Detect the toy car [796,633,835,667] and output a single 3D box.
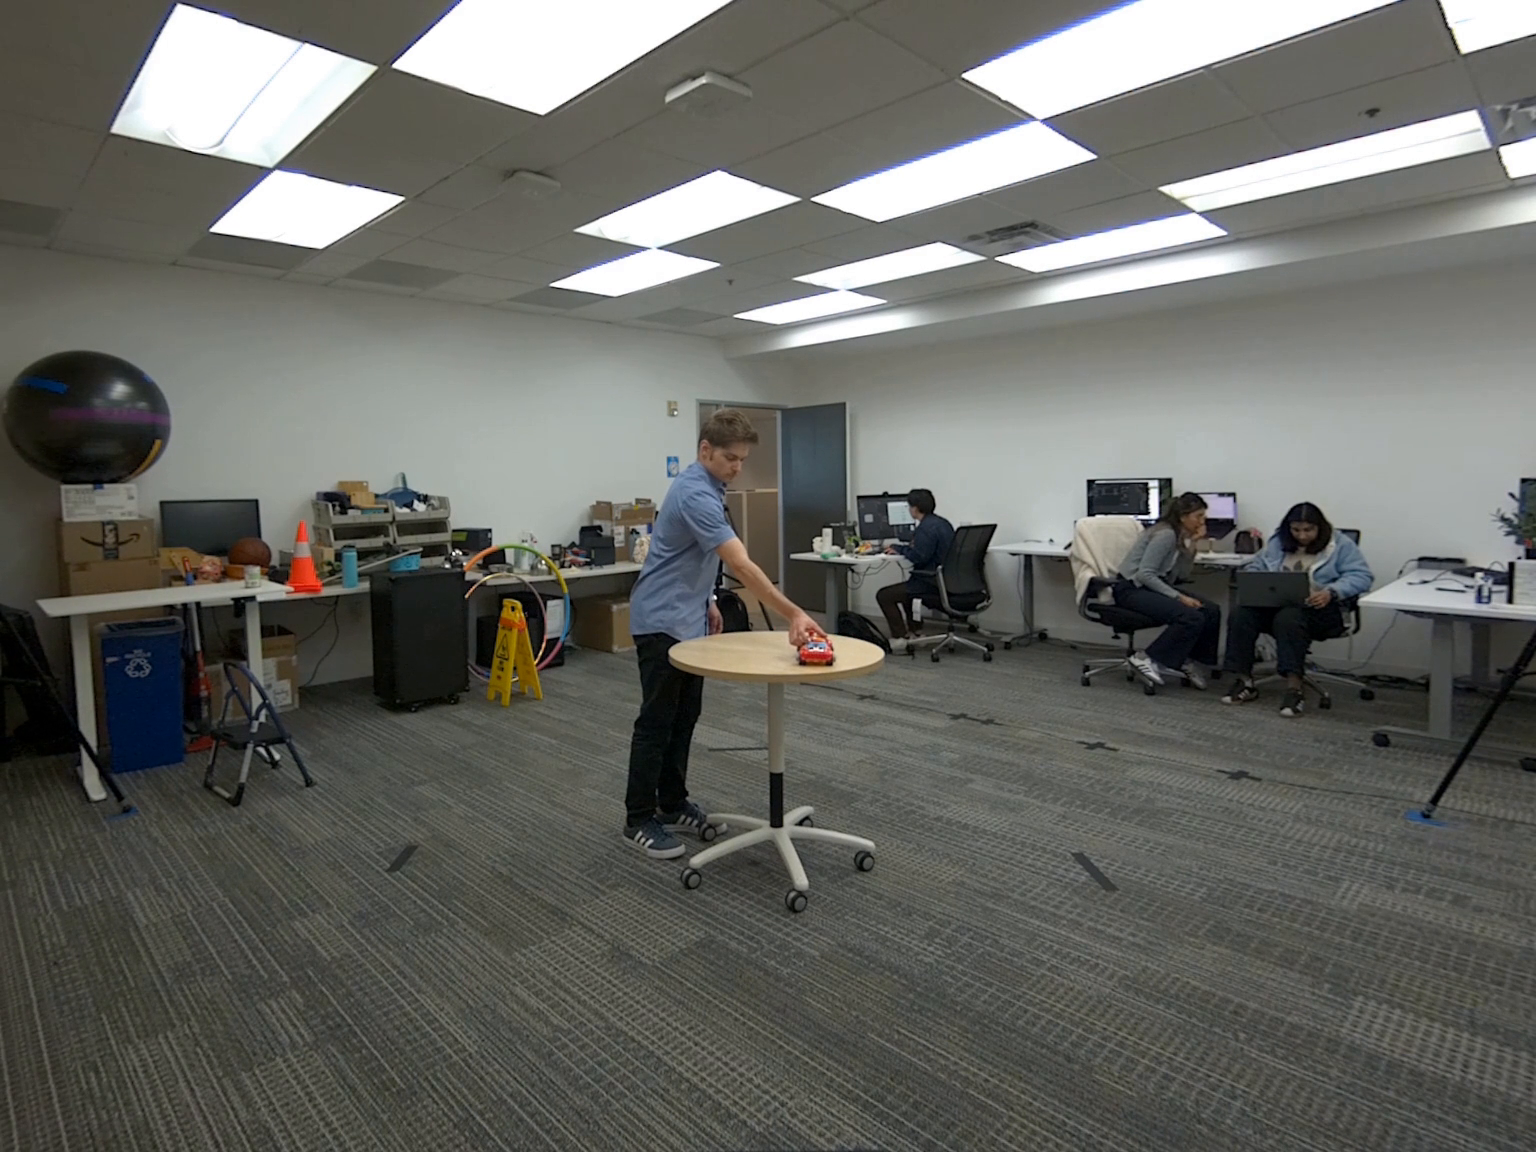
[{"bbox_3d":[0.174,0.254,2.895,0.131,0.082,0.257,-1,16,4],"label":"toy car"}]
